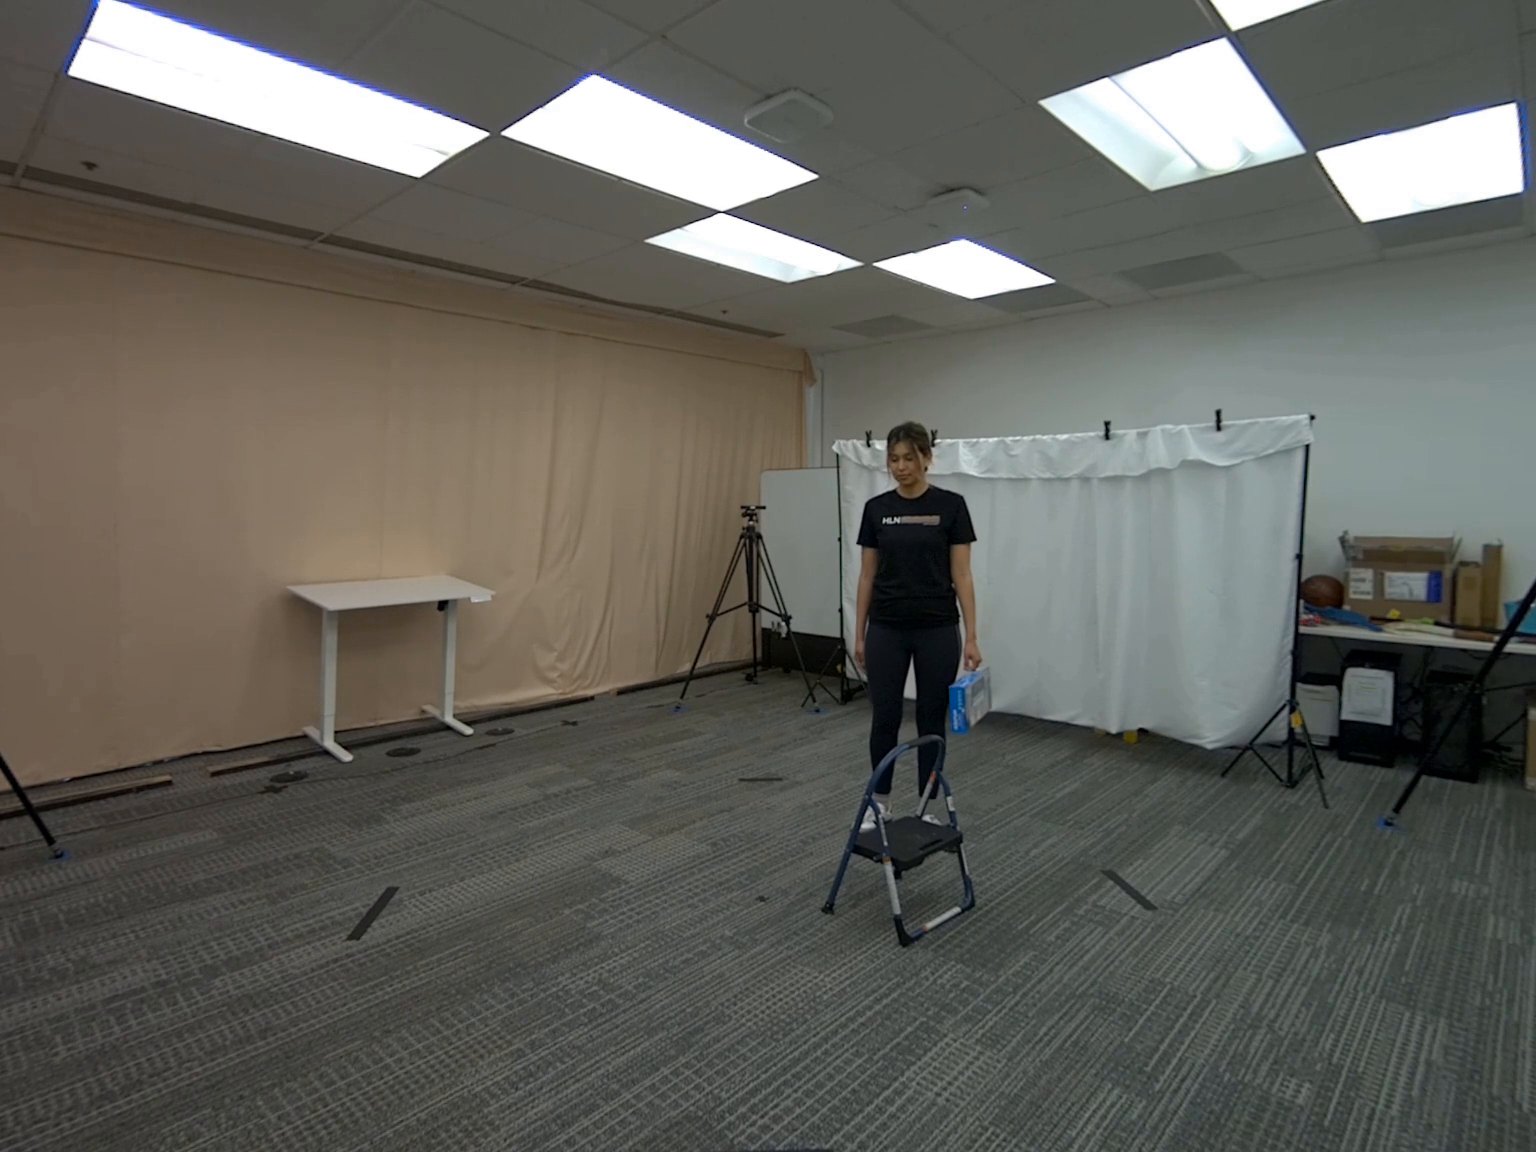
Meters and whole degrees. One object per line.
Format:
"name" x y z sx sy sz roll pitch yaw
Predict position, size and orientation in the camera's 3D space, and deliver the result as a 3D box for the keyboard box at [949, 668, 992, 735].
"keyboard box" 0.810 0.483 3.325 0.060 0.175 0.426 -1 5 26
